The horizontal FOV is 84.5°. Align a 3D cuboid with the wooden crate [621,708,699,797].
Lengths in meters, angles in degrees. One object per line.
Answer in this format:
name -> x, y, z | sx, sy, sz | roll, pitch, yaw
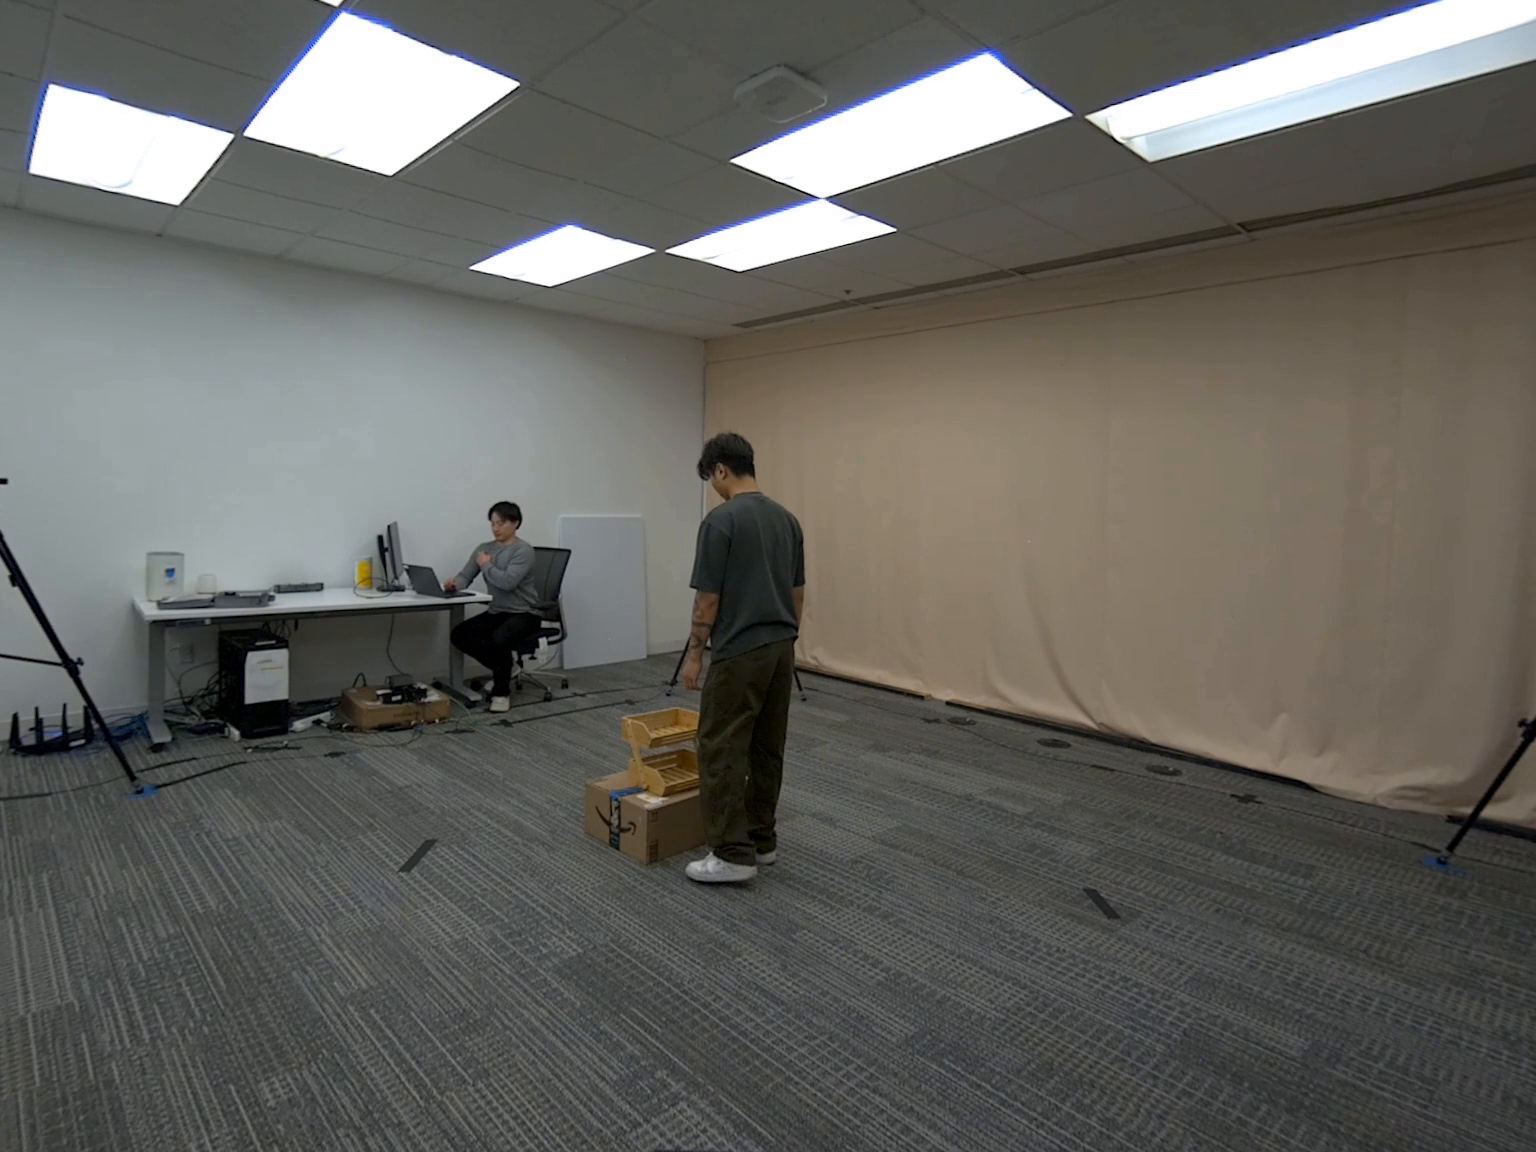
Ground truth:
wooden crate -> -0.407, 0.718, 3.507 | 0.317, 0.273, 0.309 | -1, 4, -44
